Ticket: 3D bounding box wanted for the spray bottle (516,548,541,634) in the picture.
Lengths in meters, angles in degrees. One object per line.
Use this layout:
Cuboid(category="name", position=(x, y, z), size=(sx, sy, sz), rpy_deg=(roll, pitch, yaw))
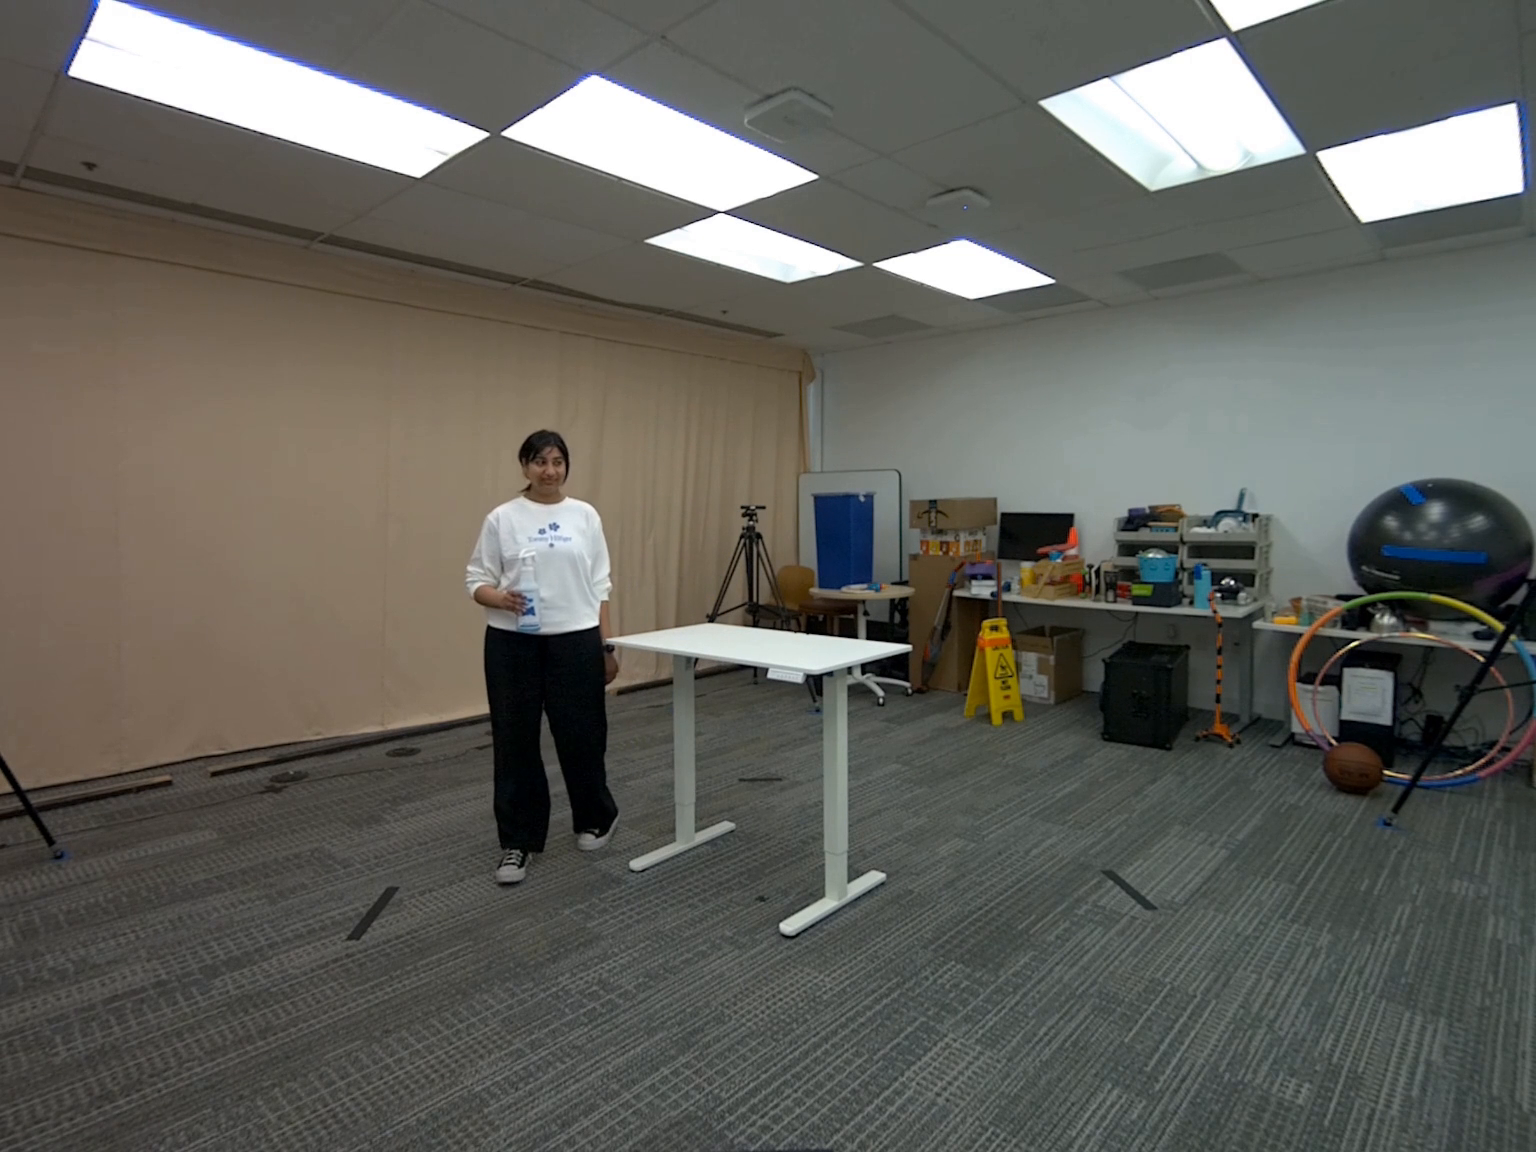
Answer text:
Cuboid(category="spray bottle", position=(-0.854, 0.052, 3.010), size=(0.087, 0.297, 0.090), rpy_deg=(-3, 4, -43))
